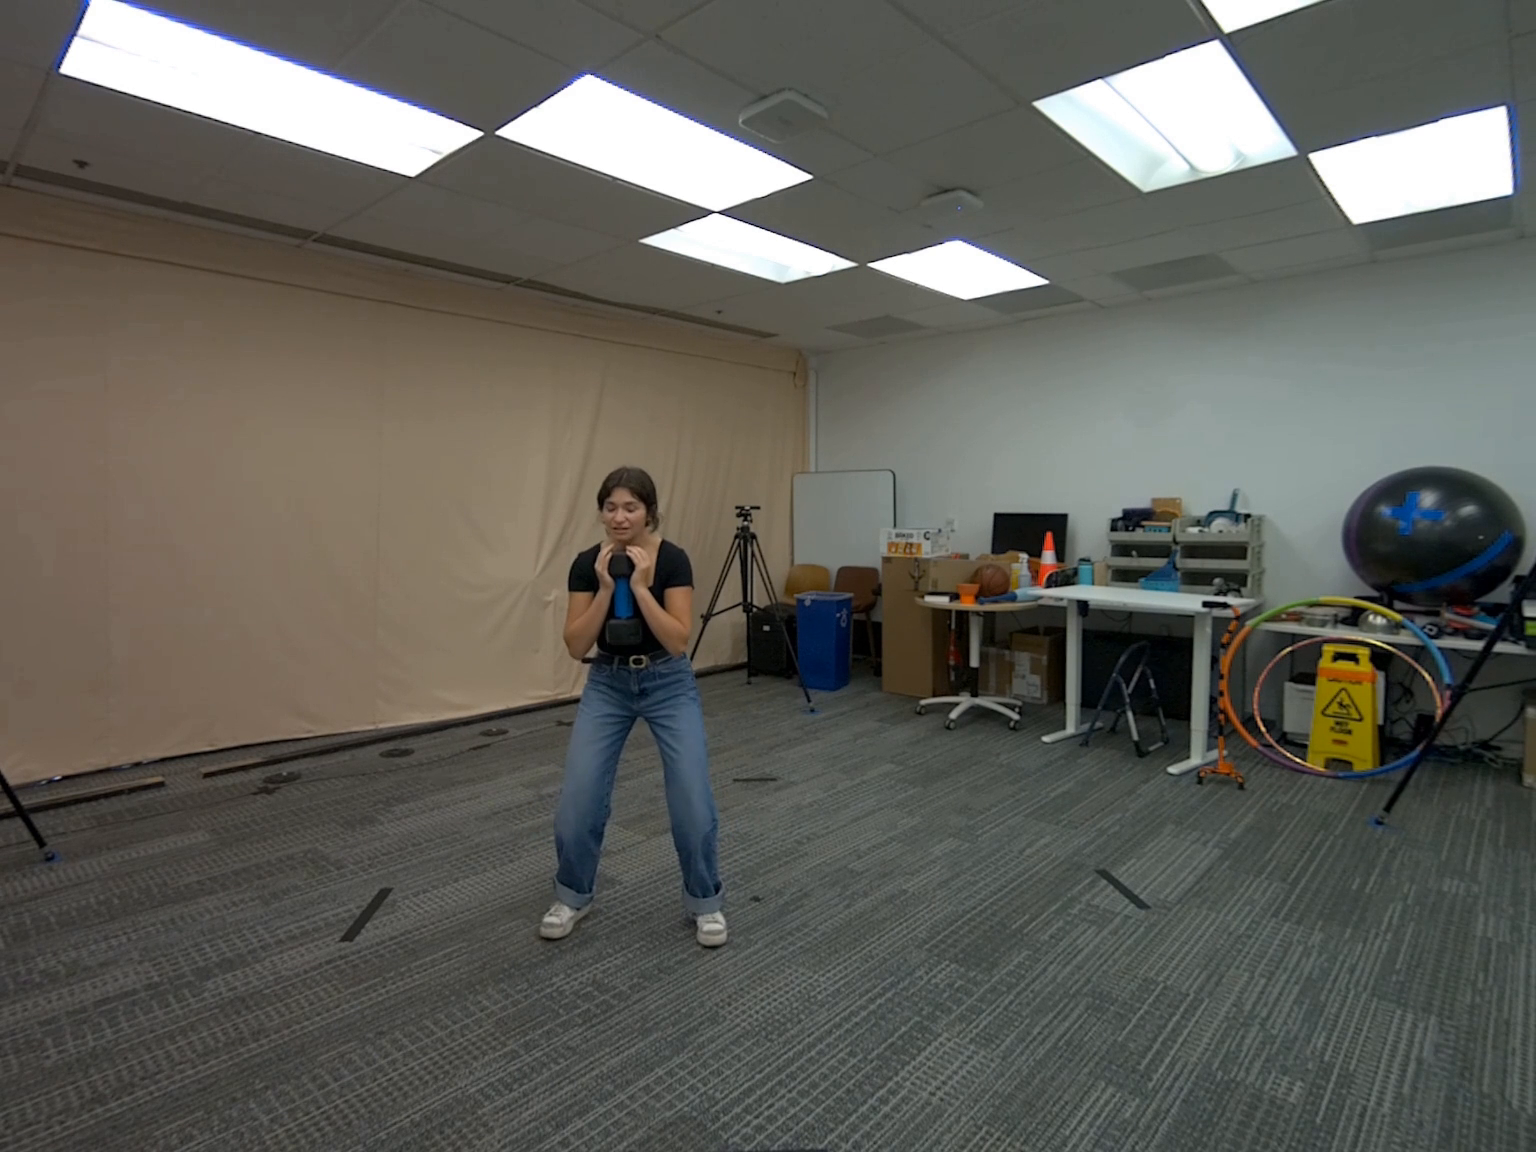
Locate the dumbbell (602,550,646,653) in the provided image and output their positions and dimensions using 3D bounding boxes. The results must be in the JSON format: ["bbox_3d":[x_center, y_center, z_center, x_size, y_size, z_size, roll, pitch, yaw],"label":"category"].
[{"bbox_3d":[-0.450,0.075,2.654,0.112,0.292,0.119,6,9,35],"label":"dumbbell"}]
